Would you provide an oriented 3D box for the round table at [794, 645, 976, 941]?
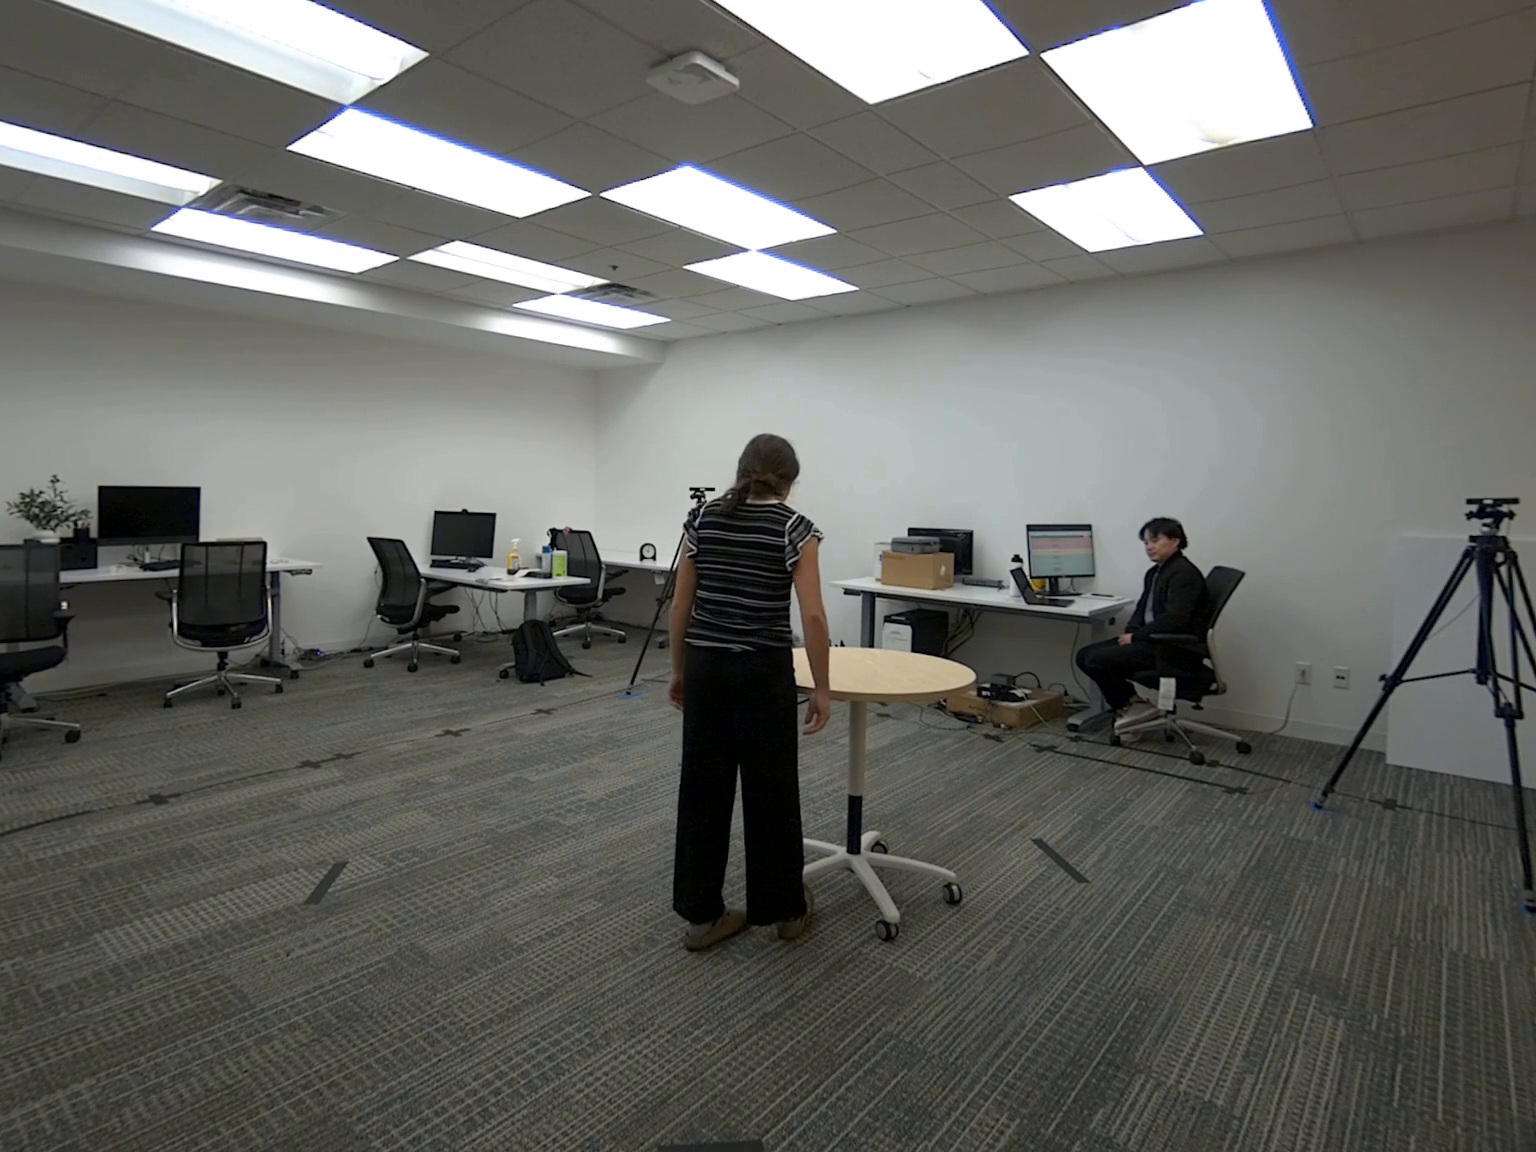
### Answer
[{"bbox_3d":[0.310,0.702,2.934,0.784,0.784,0.789,1,4,-2],"label":"round table"}]
